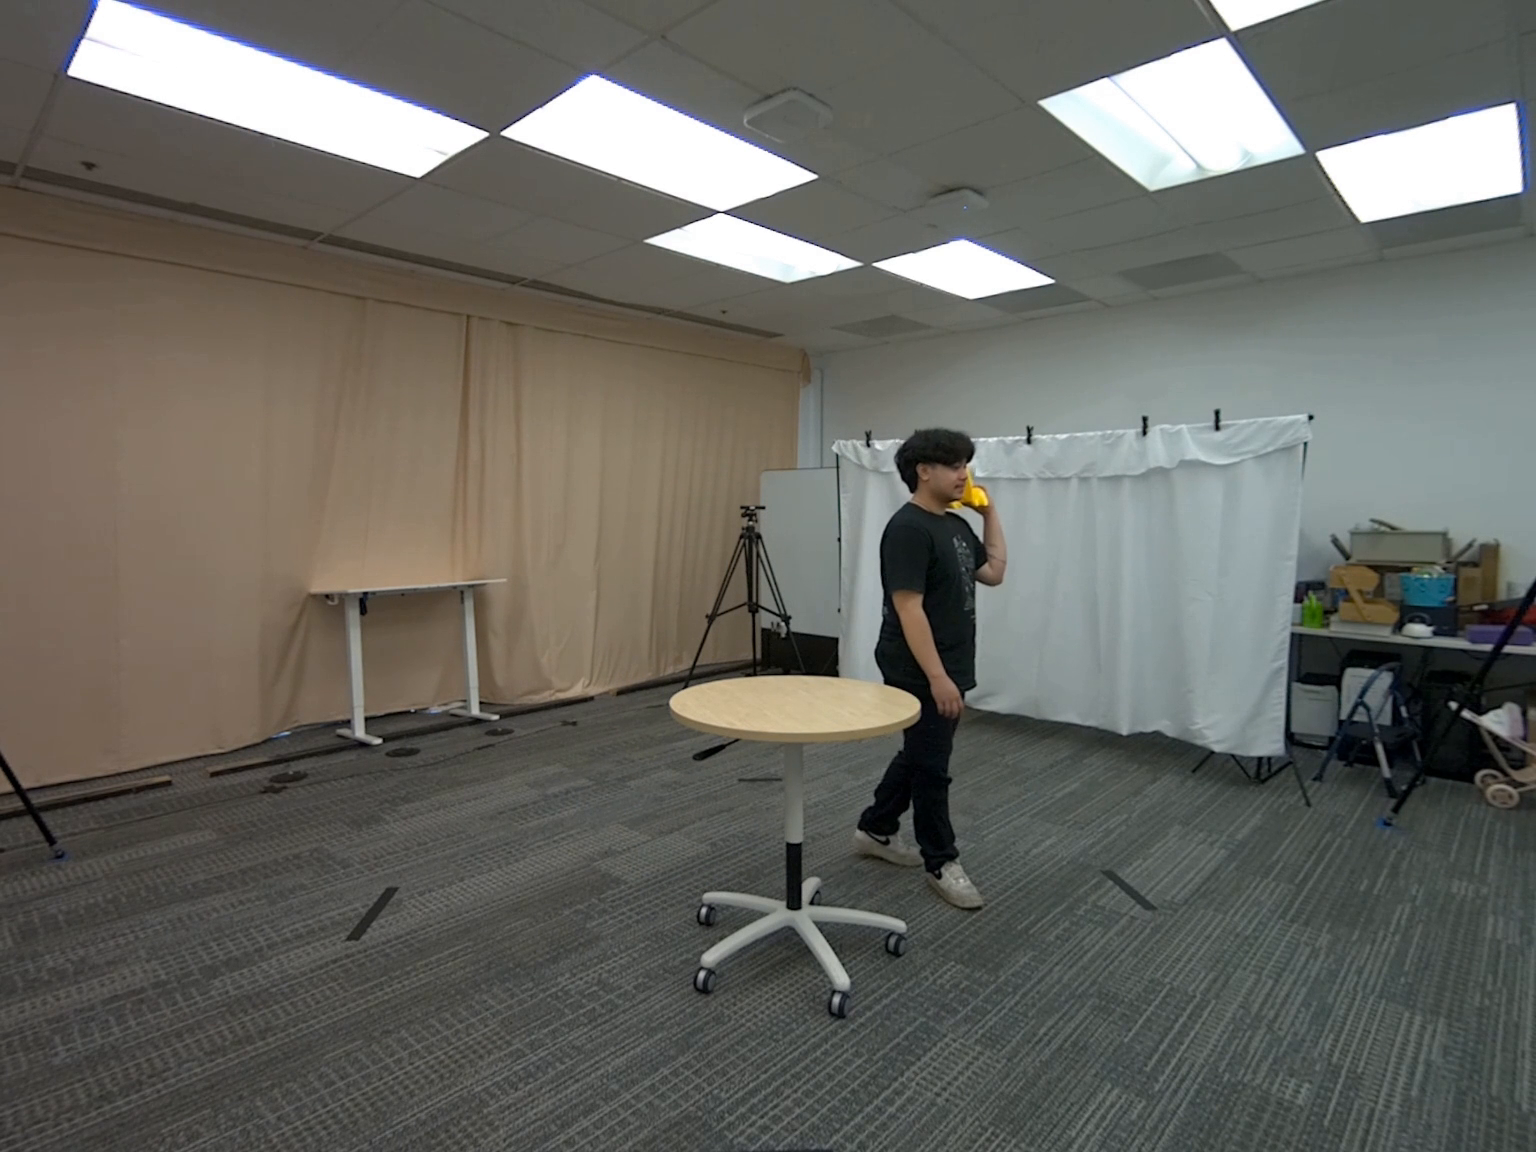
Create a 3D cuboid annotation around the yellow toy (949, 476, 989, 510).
[{"bbox_3d":[0.717,-0.382,3.164,0.201,0.229,0.198,-8,12,-20],"label":"yellow toy"}]
